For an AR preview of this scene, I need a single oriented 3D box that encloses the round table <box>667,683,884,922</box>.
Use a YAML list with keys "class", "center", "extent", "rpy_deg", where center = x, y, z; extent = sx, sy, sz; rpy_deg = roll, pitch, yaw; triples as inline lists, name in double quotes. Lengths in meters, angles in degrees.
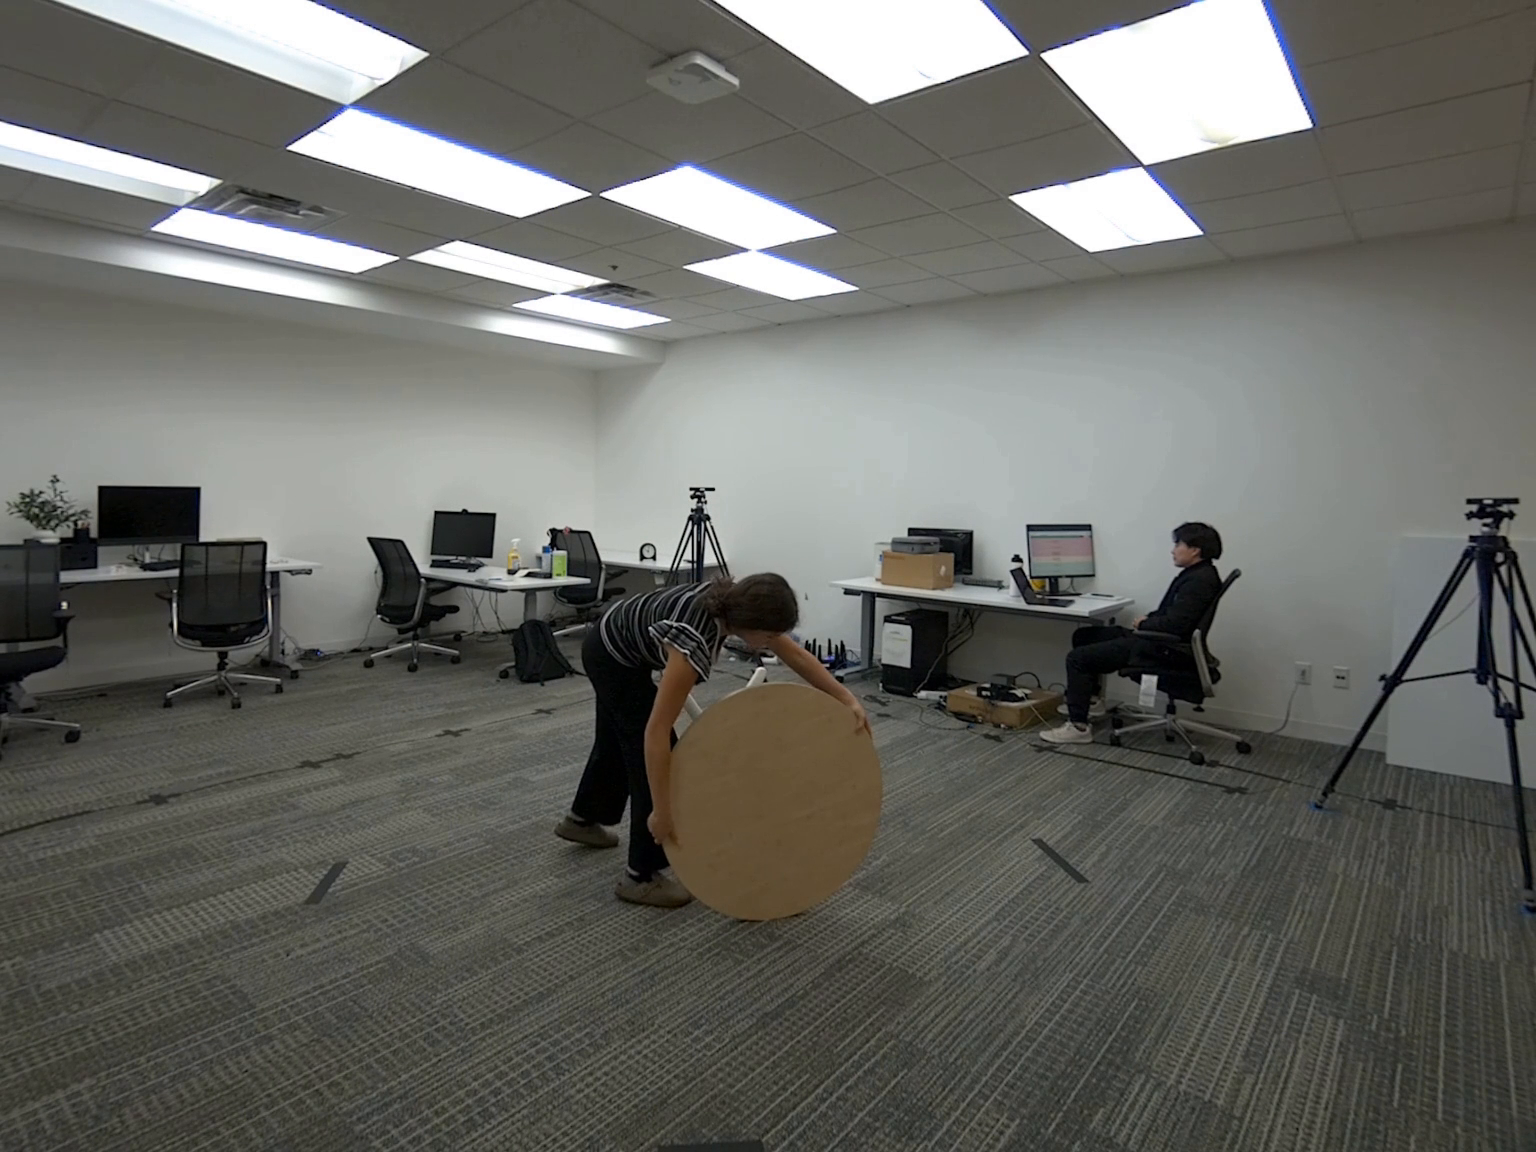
- class: "round table"
  center: [-0.120, 0.690, 3.121]
  extent: [0.751, 0.762, 0.810]
  rpy_deg: [0, 3, -17]
